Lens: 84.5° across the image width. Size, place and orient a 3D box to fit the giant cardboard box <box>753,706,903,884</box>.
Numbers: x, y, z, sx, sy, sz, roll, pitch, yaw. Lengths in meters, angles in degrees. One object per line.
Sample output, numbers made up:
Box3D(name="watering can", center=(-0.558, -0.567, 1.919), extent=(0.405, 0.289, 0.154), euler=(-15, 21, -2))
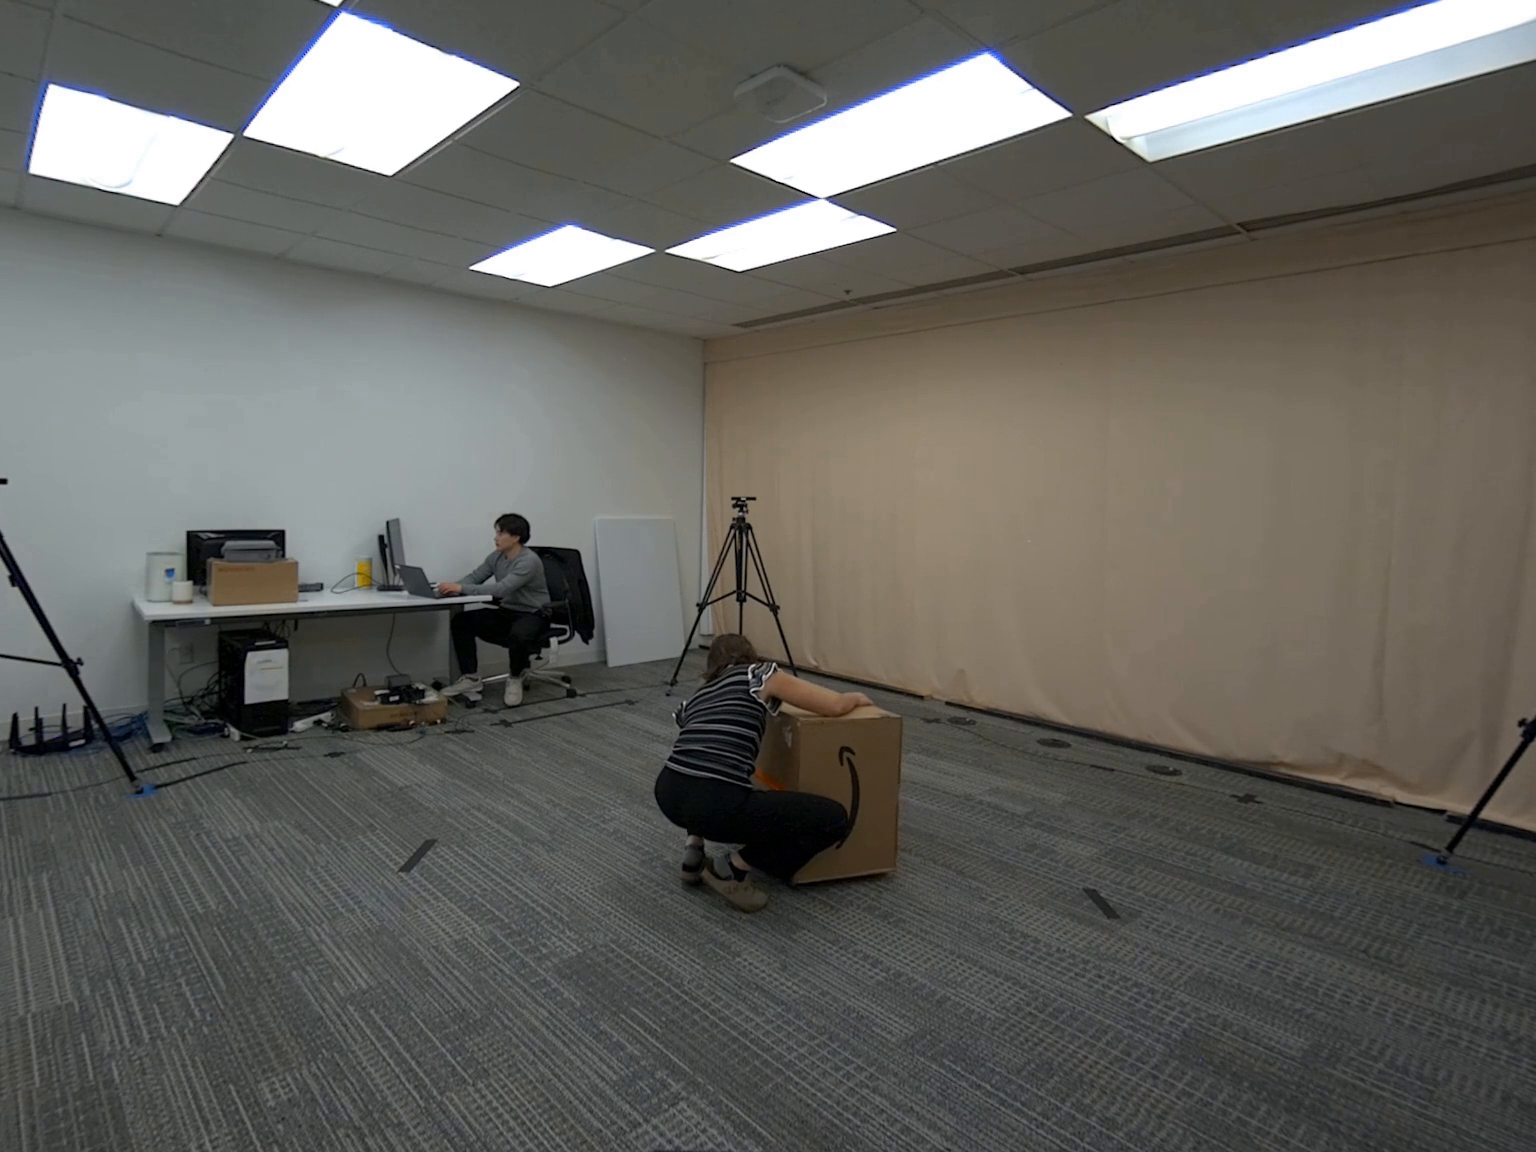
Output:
Box3D(name="giant cardboard box", center=(0.080, 0.756, 3.497), extent=(0.419, 0.577, 1.045), euler=(2, 3, -24))
